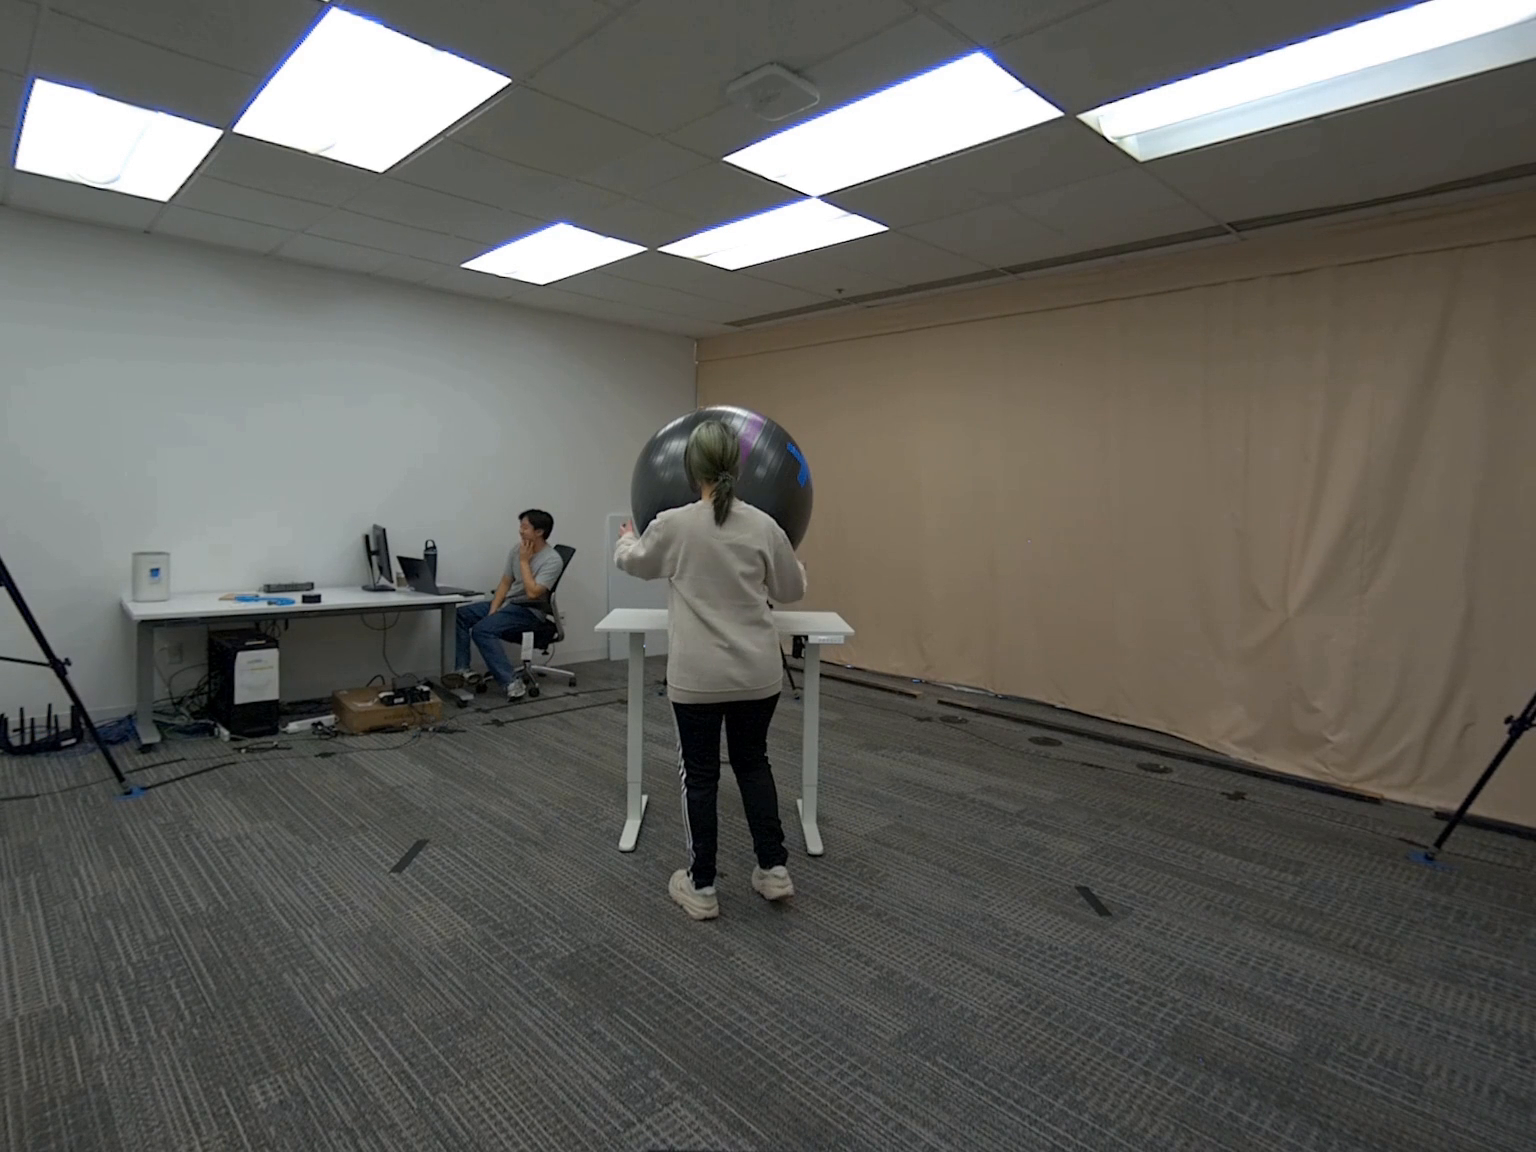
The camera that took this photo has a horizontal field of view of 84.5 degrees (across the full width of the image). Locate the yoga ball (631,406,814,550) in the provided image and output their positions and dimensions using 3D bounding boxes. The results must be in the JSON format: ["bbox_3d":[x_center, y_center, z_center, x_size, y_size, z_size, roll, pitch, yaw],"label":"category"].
[{"bbox_3d":[-0.200,-0.326,3.519,0.757,0.756,0.761,1,4,-1],"label":"yoga ball"}]
